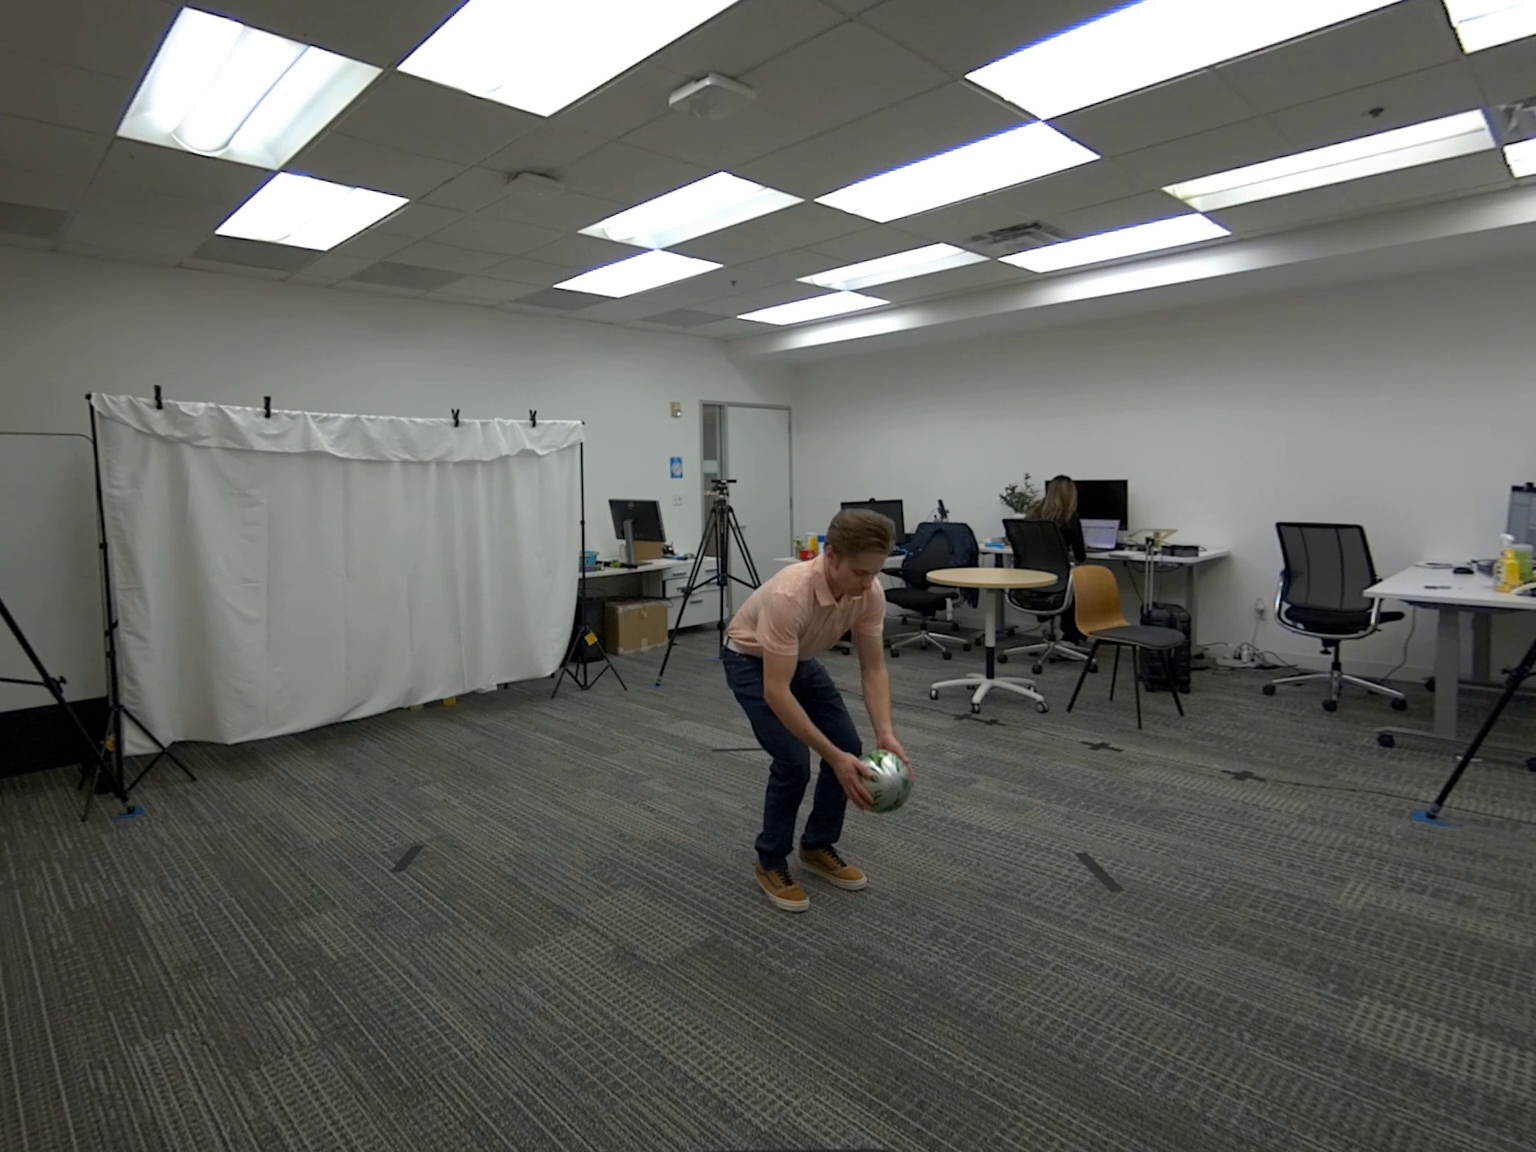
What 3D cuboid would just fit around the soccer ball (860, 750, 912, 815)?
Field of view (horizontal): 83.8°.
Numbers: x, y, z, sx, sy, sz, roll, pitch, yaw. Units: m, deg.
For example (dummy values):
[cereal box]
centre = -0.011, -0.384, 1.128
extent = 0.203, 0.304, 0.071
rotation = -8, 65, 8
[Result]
[soccer ball]
centre = 0.343, 0.625, 2.604
extent = 0.187, 0.187, 0.188
rotation = -1, 5, -2
